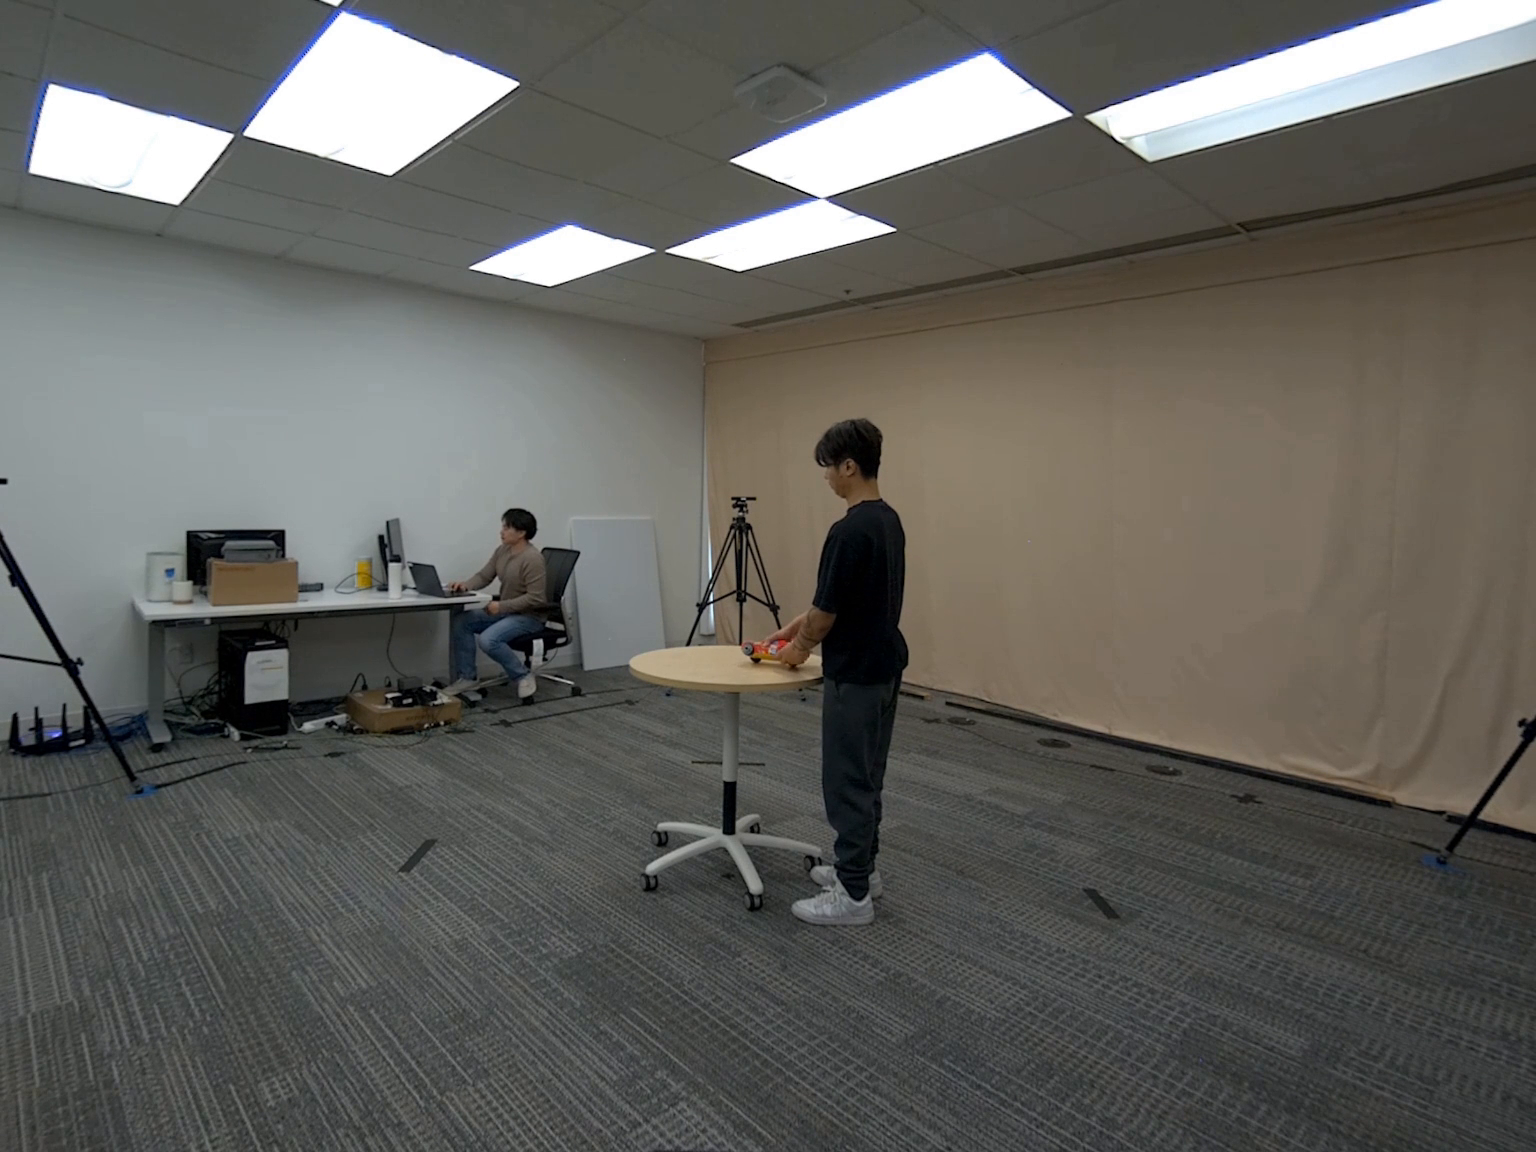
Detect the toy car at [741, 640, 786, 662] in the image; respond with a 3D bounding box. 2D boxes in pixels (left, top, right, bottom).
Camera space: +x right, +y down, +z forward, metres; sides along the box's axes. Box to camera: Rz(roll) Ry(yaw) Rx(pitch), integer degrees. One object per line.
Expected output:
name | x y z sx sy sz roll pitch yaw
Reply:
toy car | 0.032 0.279 3.053 0.258 0.084 0.126 -6 -27 21
